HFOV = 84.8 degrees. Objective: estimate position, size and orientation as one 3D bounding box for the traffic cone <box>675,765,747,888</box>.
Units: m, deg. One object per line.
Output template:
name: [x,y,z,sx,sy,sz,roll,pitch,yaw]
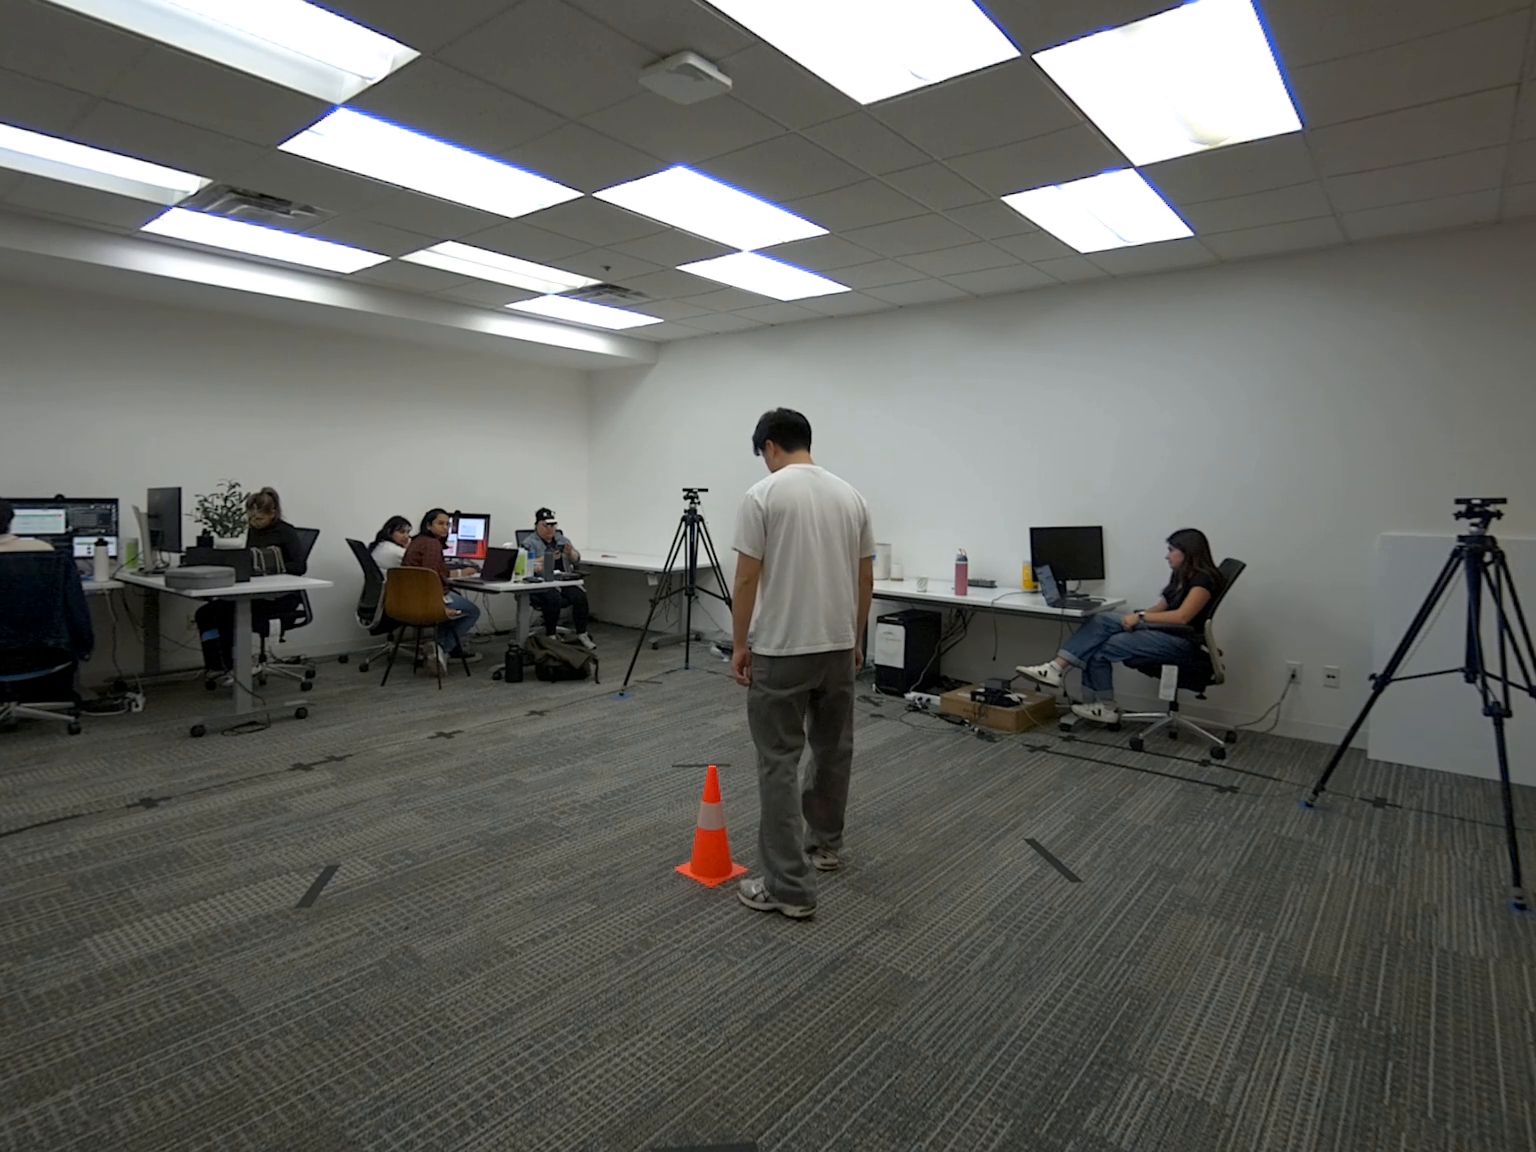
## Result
traffic cone: [-0.203,0.881,3.114,0.197,0.383,0.211,-1,2,-37]
